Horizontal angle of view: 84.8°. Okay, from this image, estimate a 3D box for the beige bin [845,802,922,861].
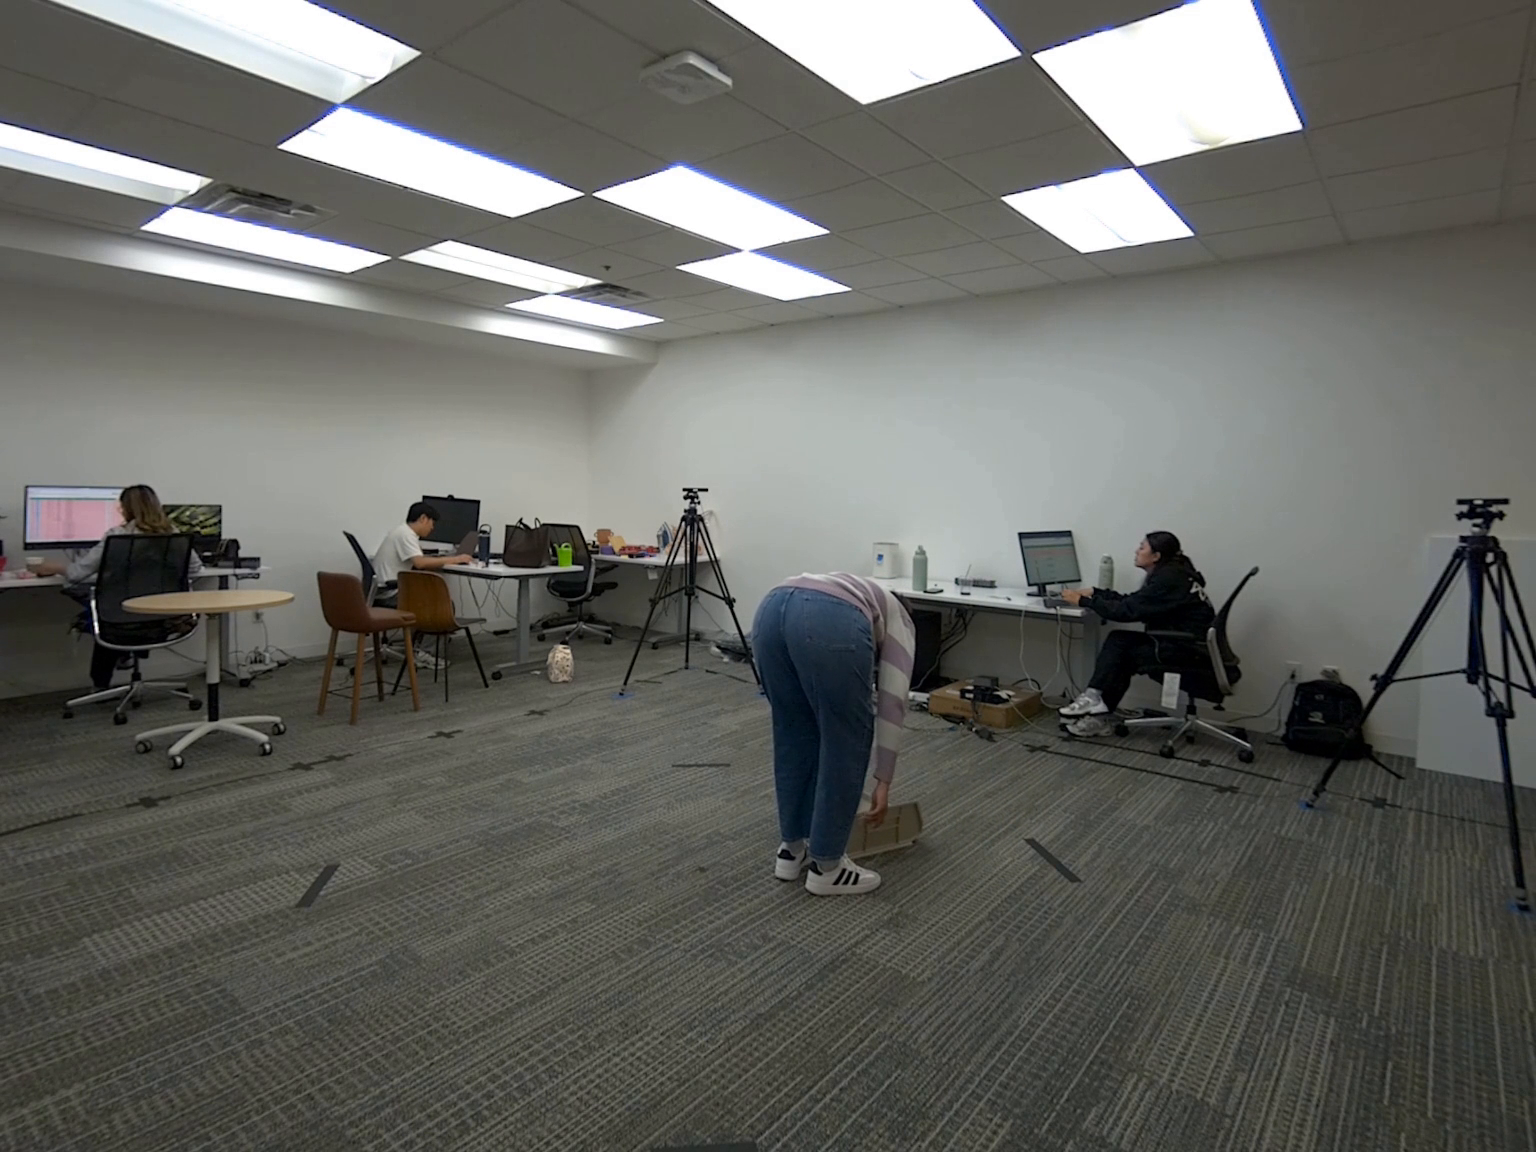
[{"bbox_3d":[0.341,0.954,3.472,0.367,0.188,0.436,-4,7,-31],"label":"beige bin"}]
